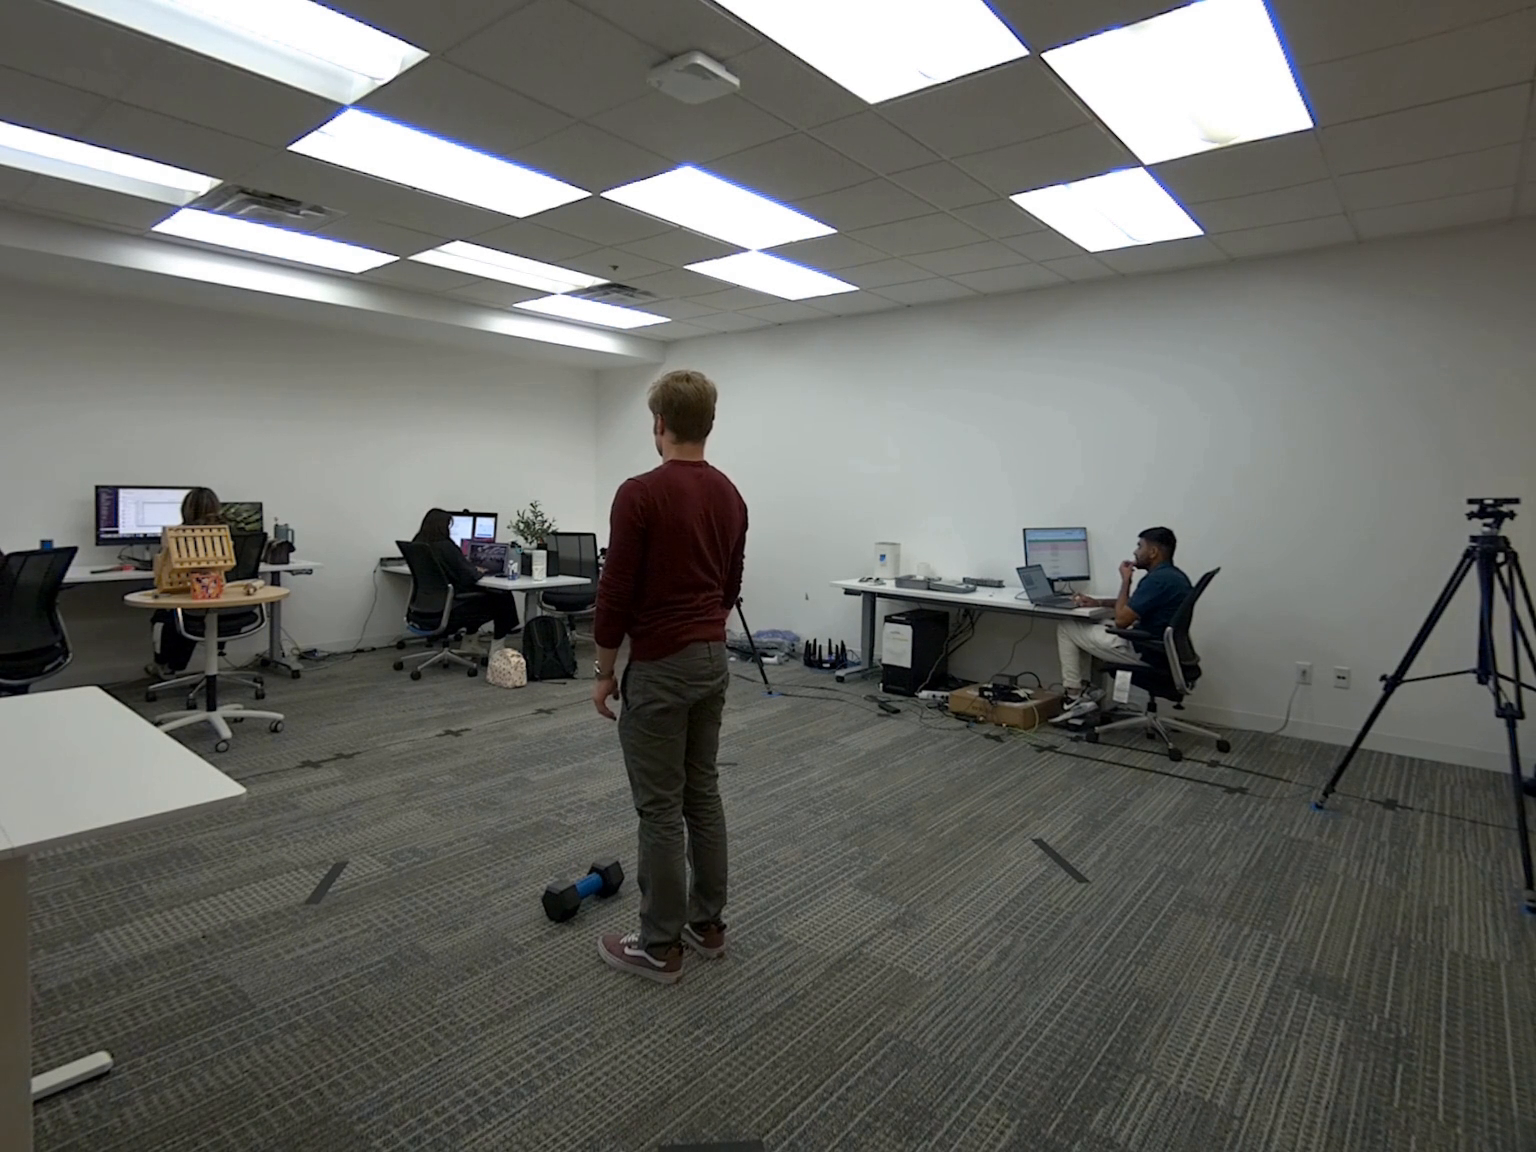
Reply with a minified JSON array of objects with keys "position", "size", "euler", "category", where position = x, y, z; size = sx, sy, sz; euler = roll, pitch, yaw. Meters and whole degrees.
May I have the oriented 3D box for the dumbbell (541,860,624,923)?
[{"position":[-0.618,1.033,2.820],"size":[0.112,0.122,0.286],"euler":[36,22,25],"category":"dumbbell"}]
